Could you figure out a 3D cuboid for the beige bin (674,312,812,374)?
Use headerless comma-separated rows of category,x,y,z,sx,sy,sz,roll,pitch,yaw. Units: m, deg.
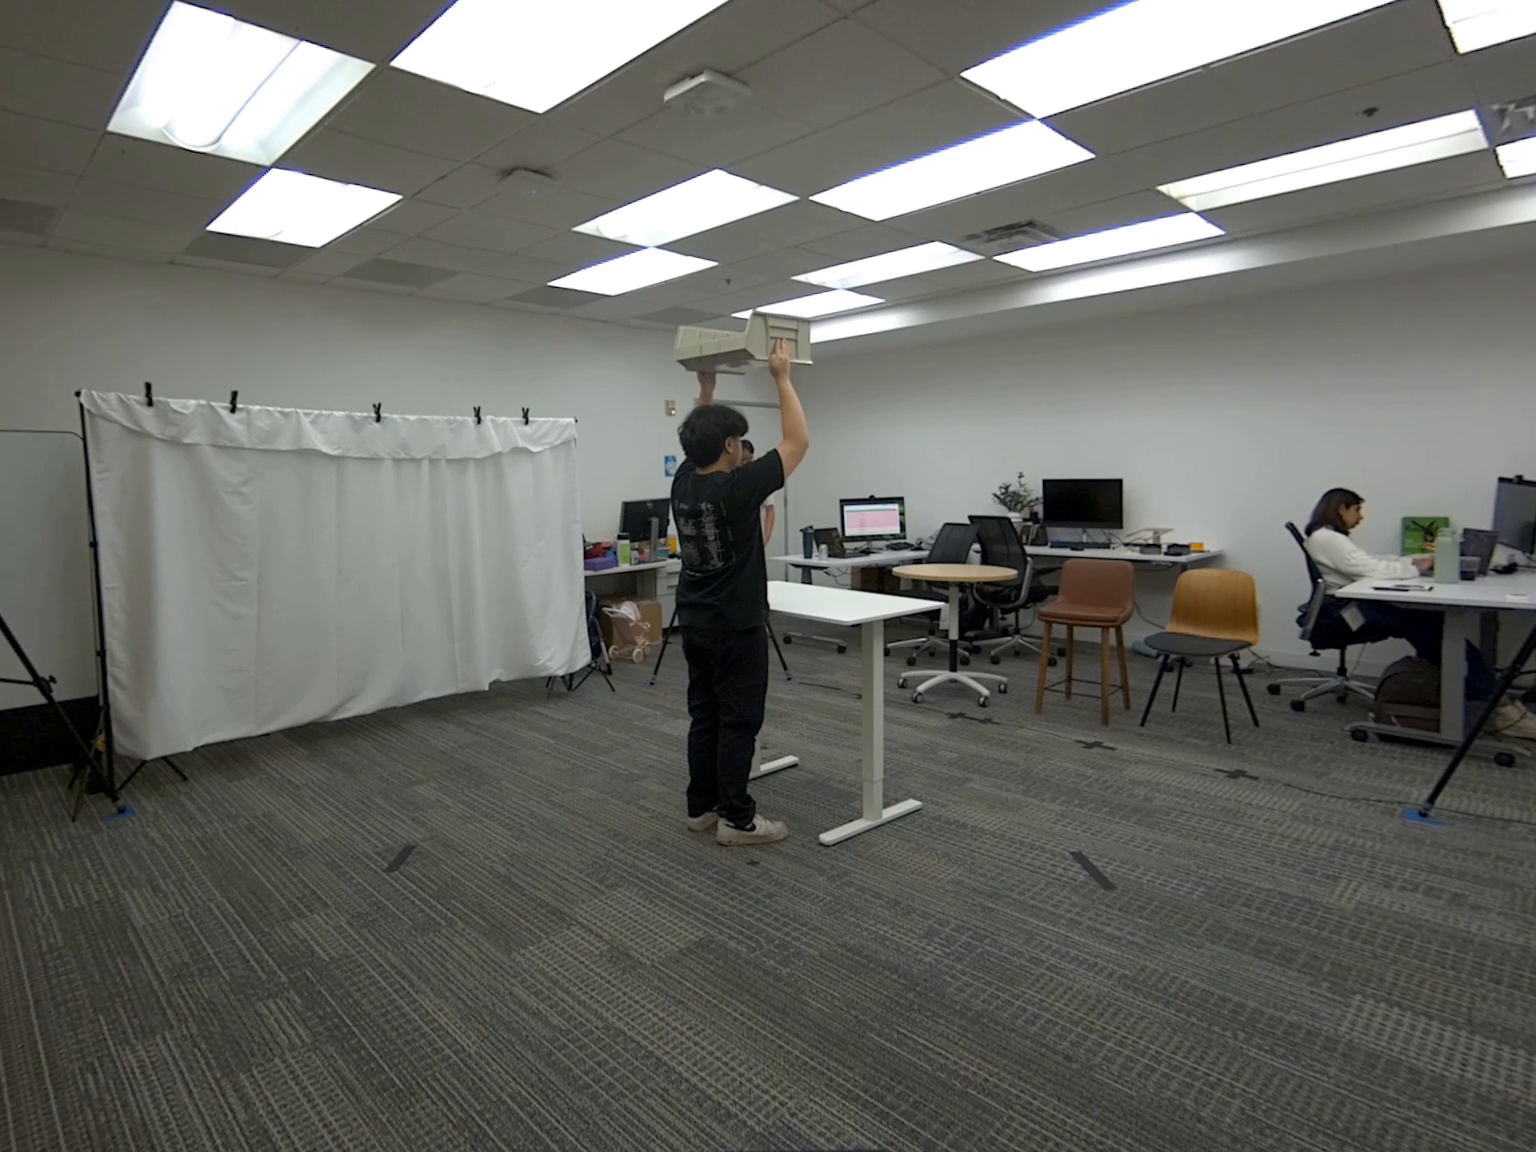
beige bin,-0.092,-0.911,3.367,0.367,0.188,0.435,-7,8,-43
